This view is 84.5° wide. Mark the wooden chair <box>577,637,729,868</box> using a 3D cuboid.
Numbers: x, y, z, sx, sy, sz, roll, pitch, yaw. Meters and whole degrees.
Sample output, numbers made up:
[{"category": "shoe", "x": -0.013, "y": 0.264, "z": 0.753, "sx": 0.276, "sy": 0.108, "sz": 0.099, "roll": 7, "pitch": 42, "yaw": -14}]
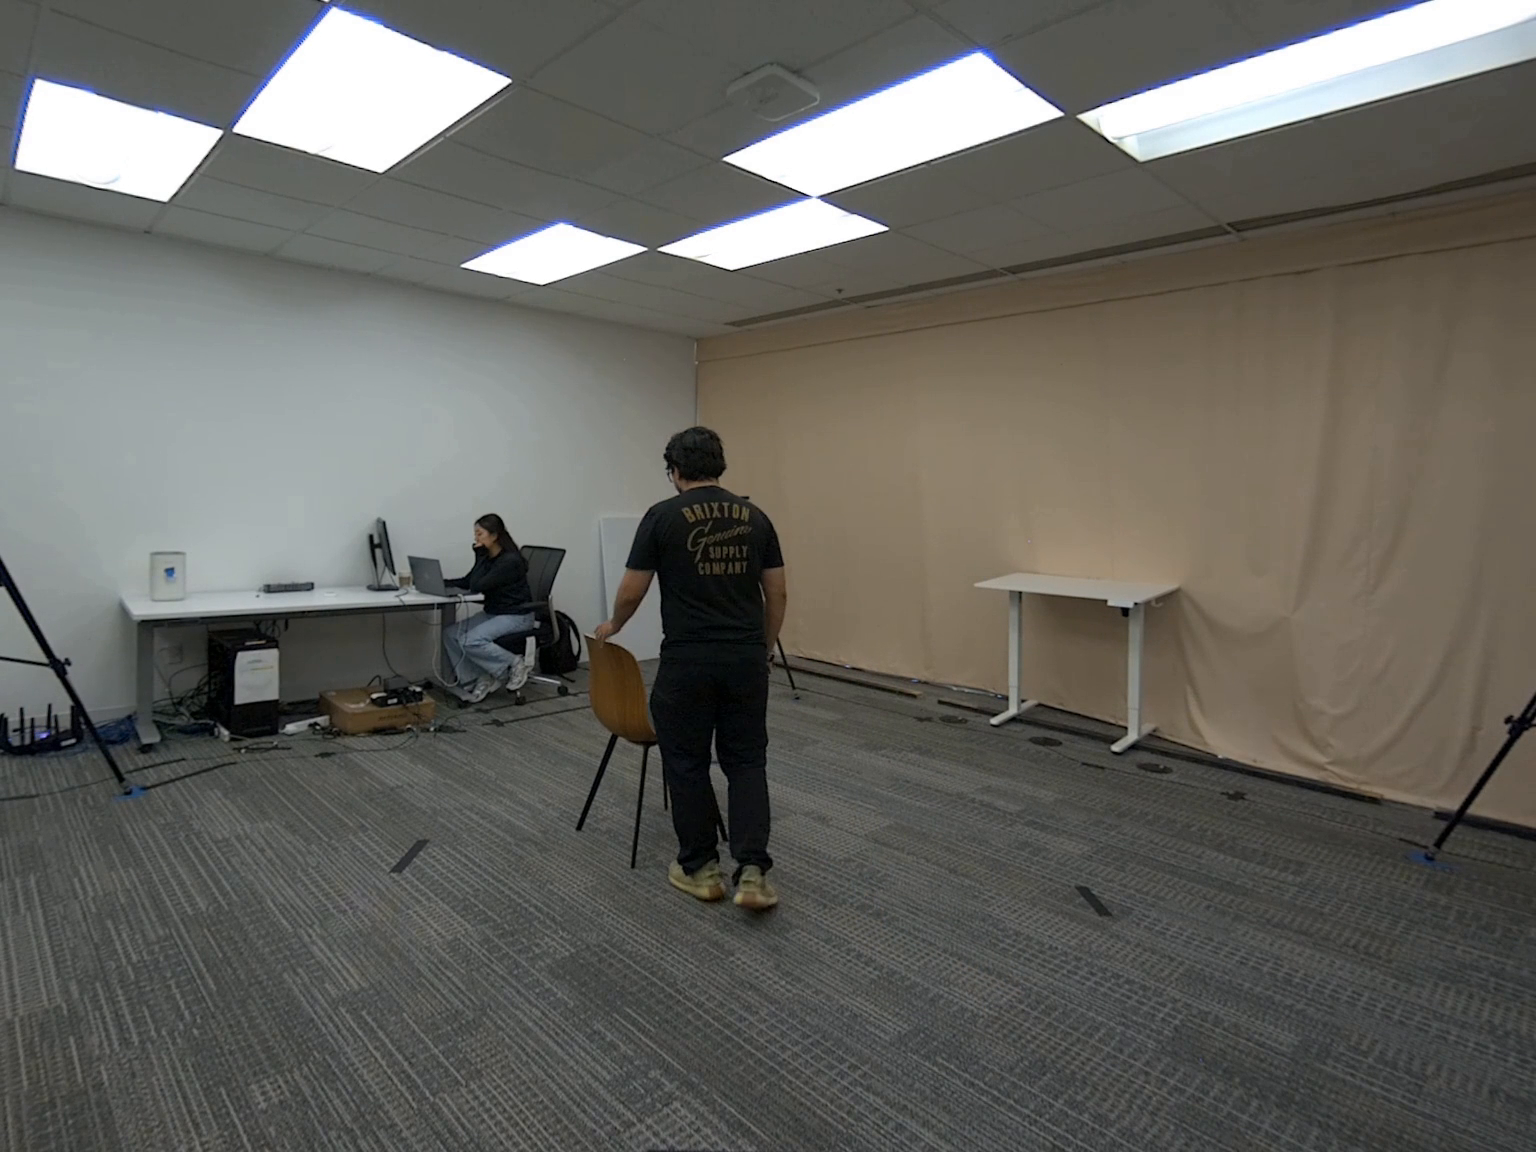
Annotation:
[{"category": "wooden chair", "x": -0.465, "y": 0.639, "z": 3.427, "sx": 0.512, "sy": 0.873, "sz": 0.490, "roll": -7, "pitch": 8, "yaw": -39}]
